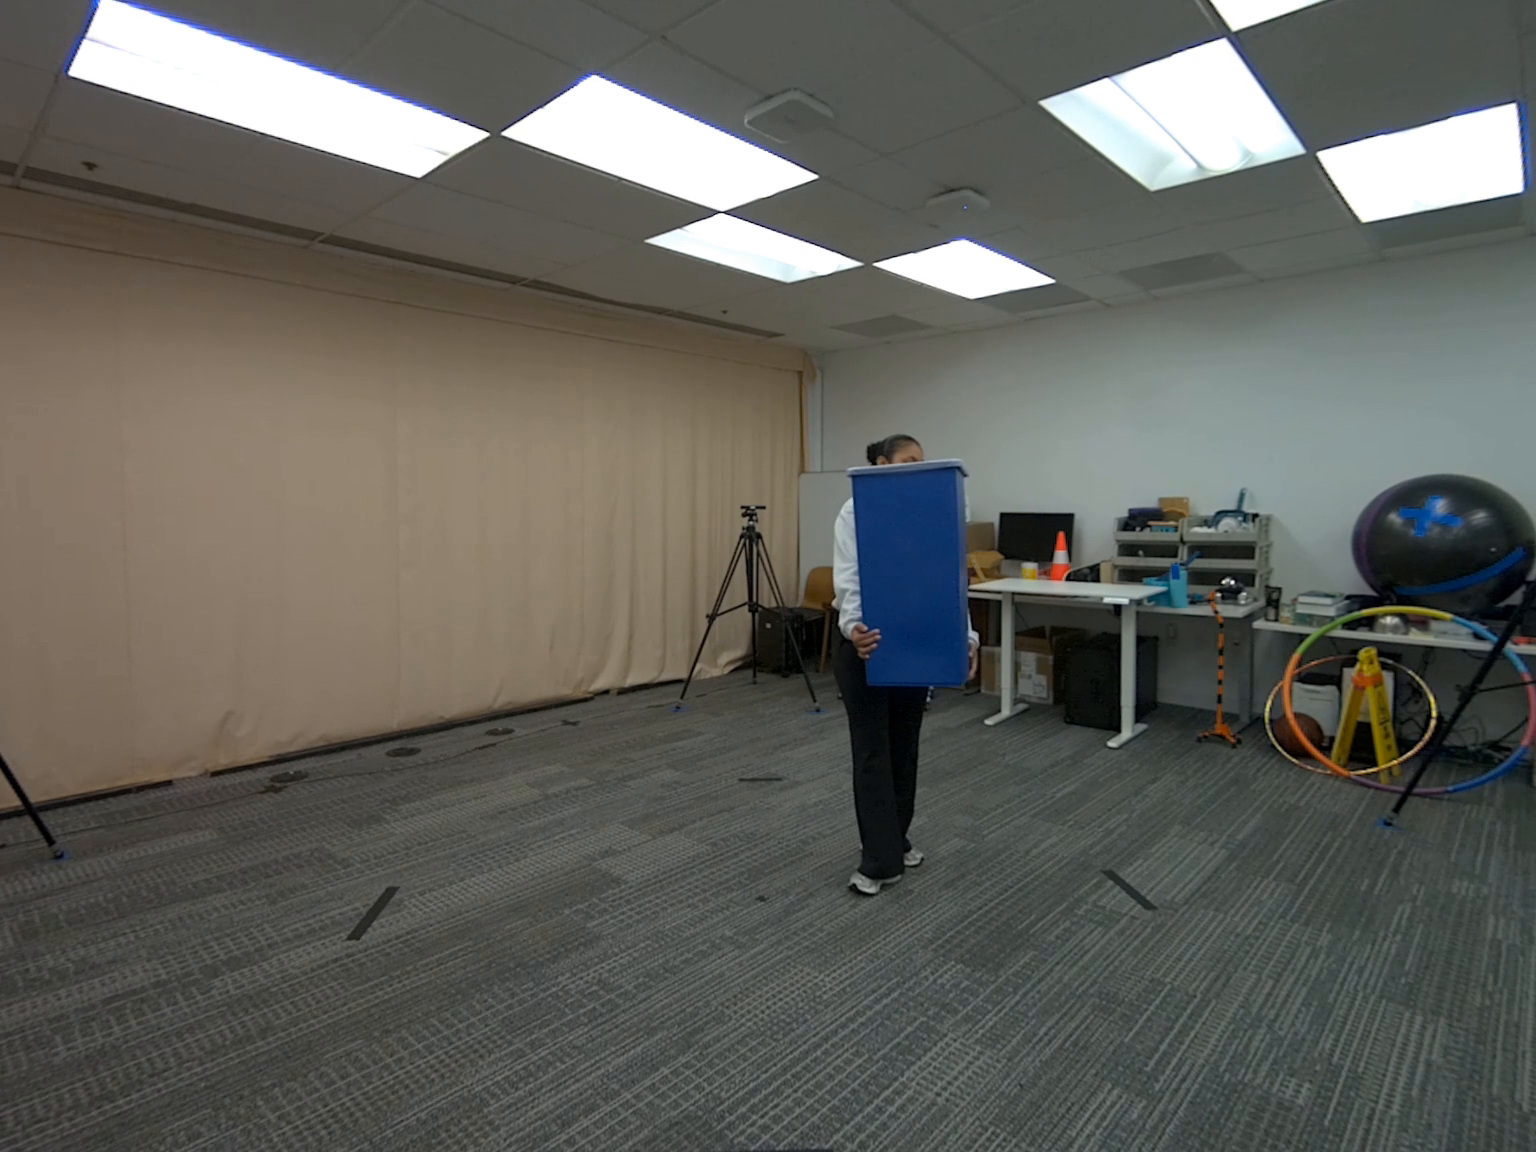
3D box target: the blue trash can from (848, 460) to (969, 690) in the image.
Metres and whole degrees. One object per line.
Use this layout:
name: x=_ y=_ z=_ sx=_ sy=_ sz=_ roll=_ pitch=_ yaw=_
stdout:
blue trash can: x=0.486 y=-0.007 z=2.844 sx=0.382 sy=0.715 sz=0.370 roll=-2 pitch=-3 yaw=19
